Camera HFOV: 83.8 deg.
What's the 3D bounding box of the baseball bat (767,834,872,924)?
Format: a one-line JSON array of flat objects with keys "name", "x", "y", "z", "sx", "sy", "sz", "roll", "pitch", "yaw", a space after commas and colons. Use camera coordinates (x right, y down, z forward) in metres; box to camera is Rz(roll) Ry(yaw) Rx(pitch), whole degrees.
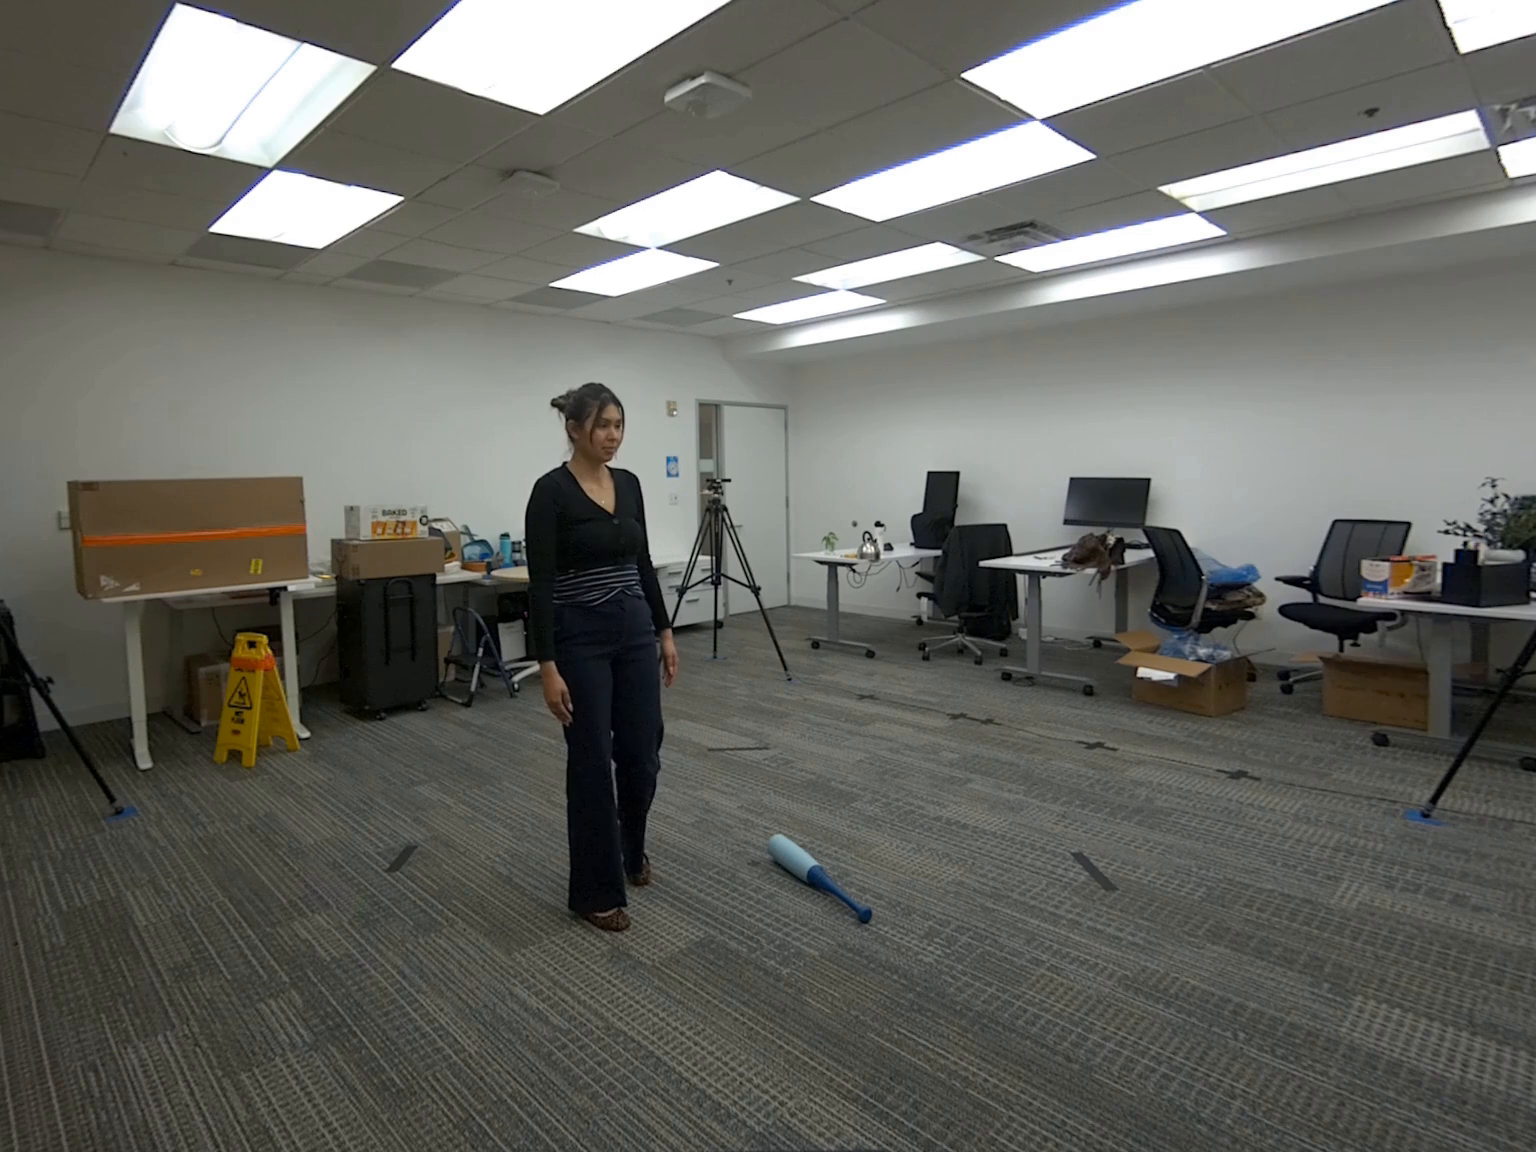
[{"name": "baseball bat", "x": 0.169, "y": 1.024, "z": 2.908, "sx": 0.087, "sy": 0.088, "sz": 0.559, "roll": -4, "pitch": 10, "yaw": -29}]
